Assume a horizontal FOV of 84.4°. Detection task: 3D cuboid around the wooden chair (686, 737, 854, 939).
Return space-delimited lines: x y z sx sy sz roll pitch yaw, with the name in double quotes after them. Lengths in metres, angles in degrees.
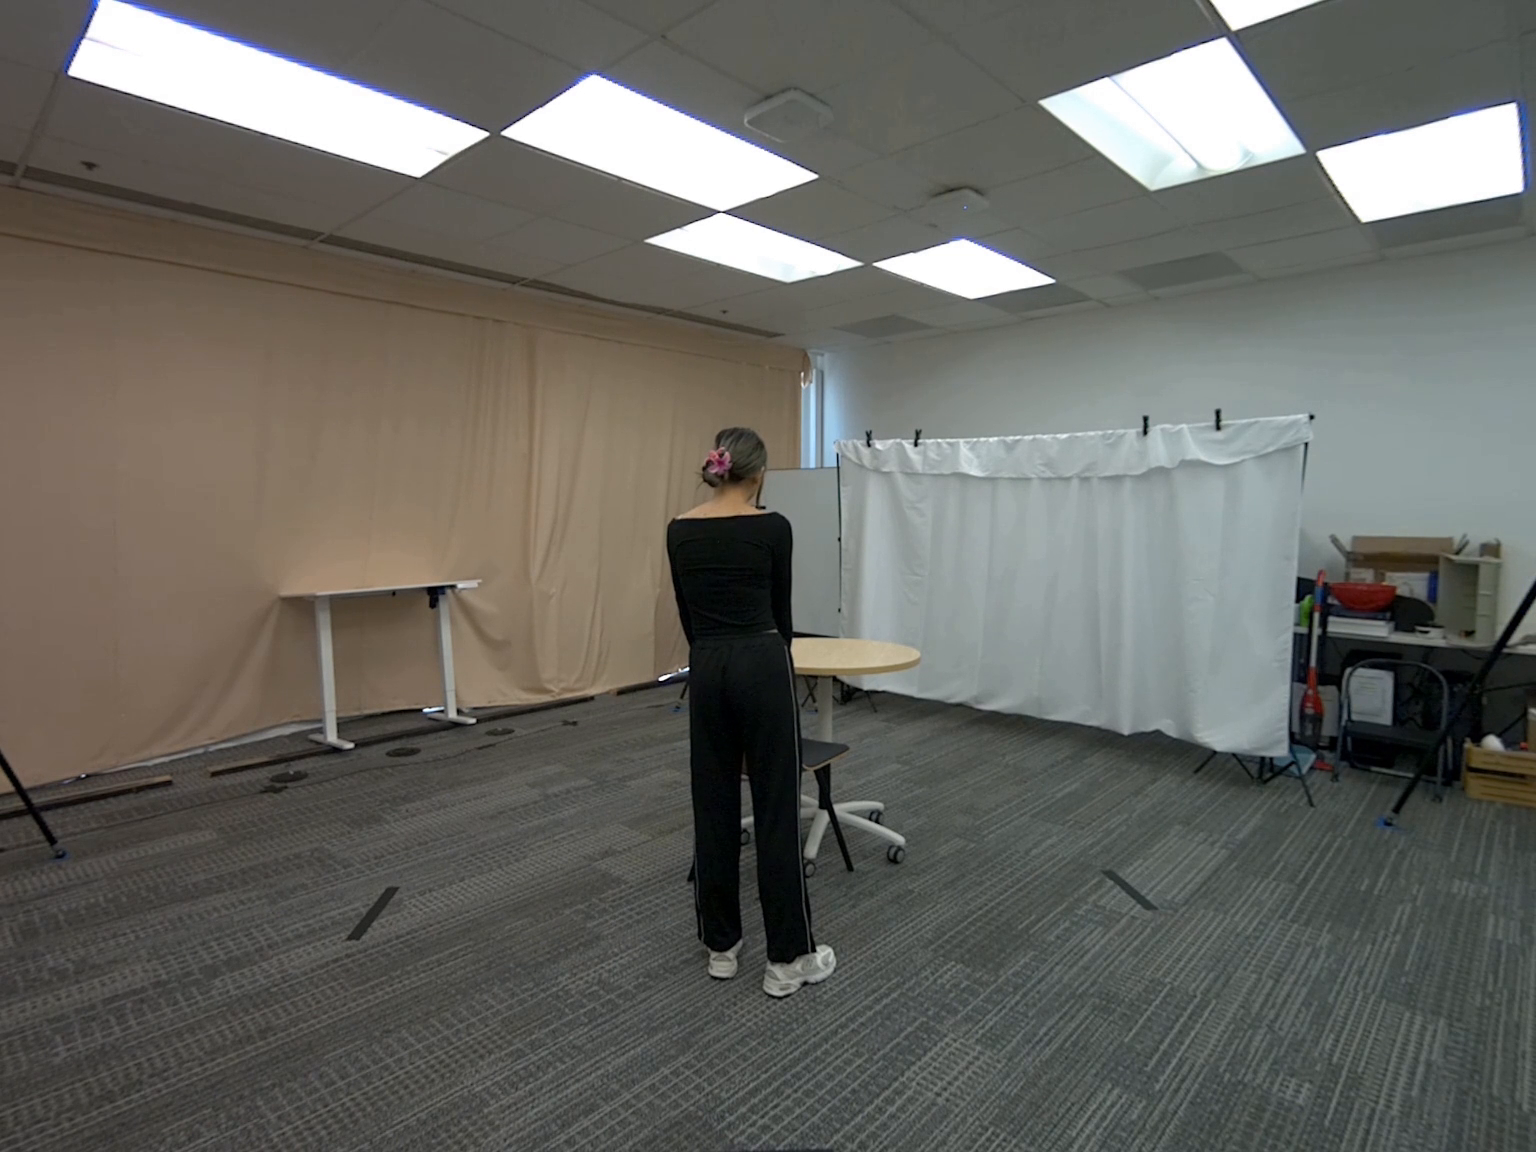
0.015 0.700 3.131 0.493 0.873 0.509 1 8 37 "wooden chair"
